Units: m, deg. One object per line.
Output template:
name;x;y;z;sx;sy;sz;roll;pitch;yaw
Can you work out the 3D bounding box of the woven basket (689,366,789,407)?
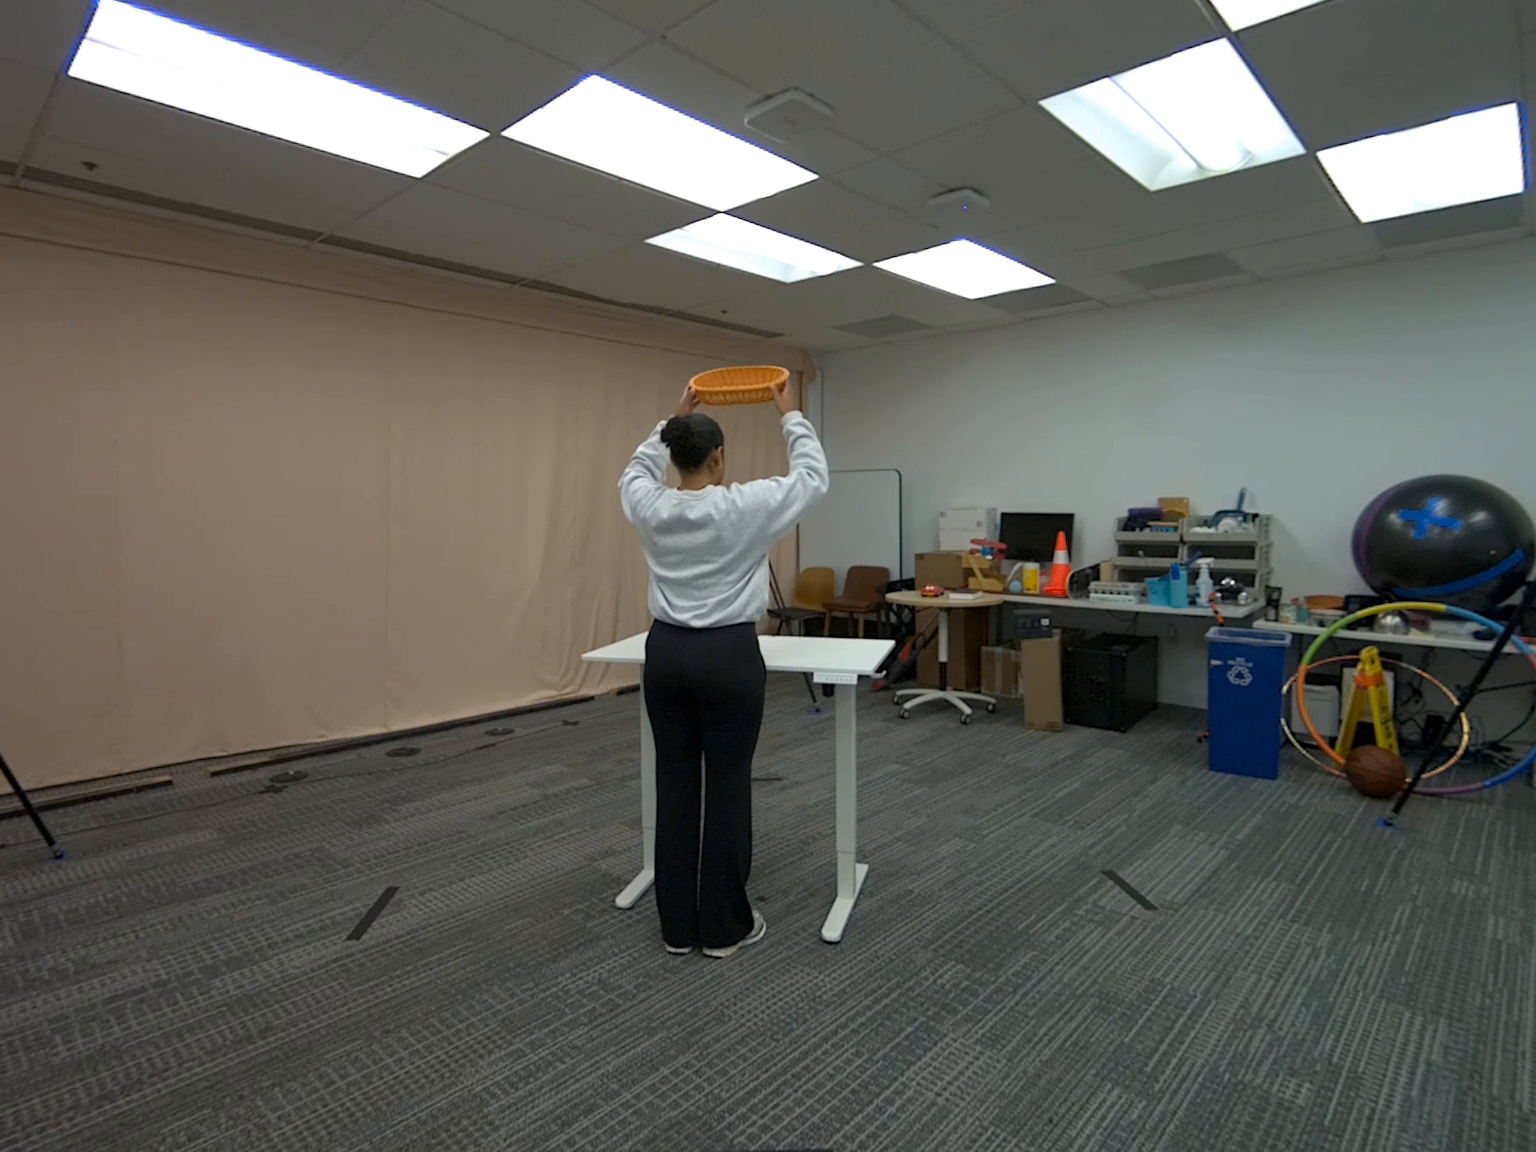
woven basket;-0.091;-0.649;2.865;0.358;0.072;0.252;3;32;20
